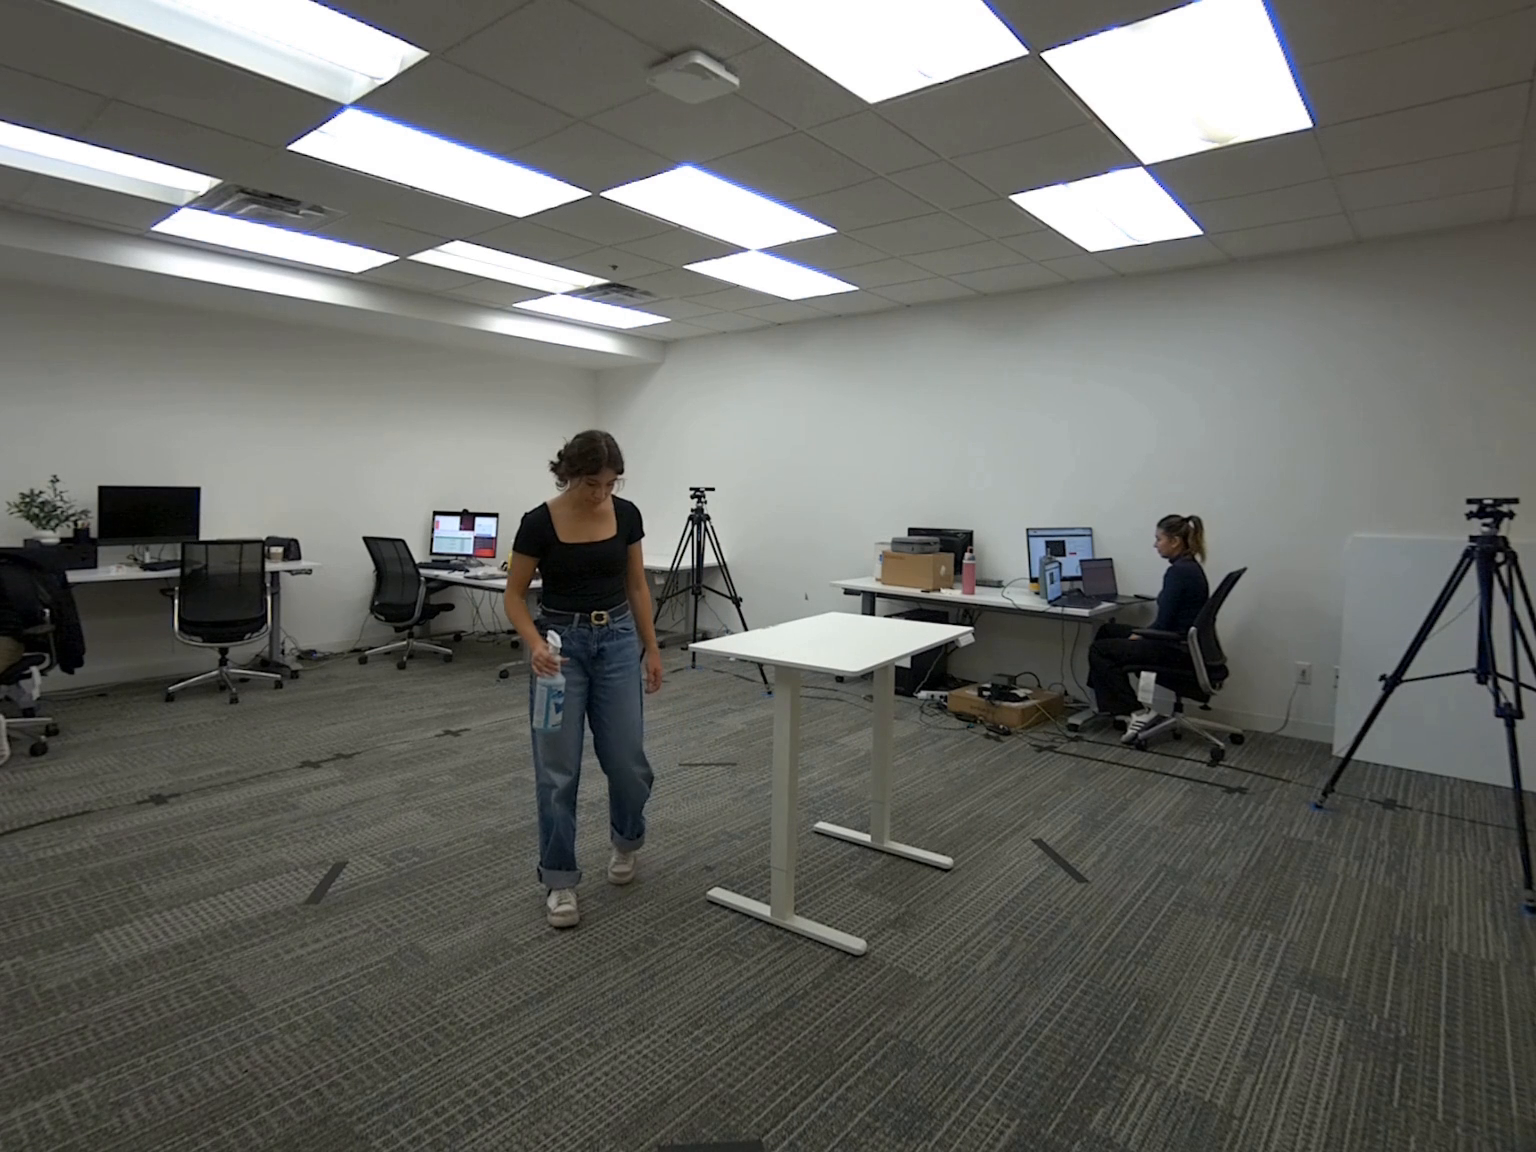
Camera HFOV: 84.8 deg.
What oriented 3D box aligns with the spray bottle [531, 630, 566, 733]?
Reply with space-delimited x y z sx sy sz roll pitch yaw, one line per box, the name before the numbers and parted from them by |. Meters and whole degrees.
spray bottle | -0.666 0.315 2.589 0.086 0.296 0.091 6 4 -8
